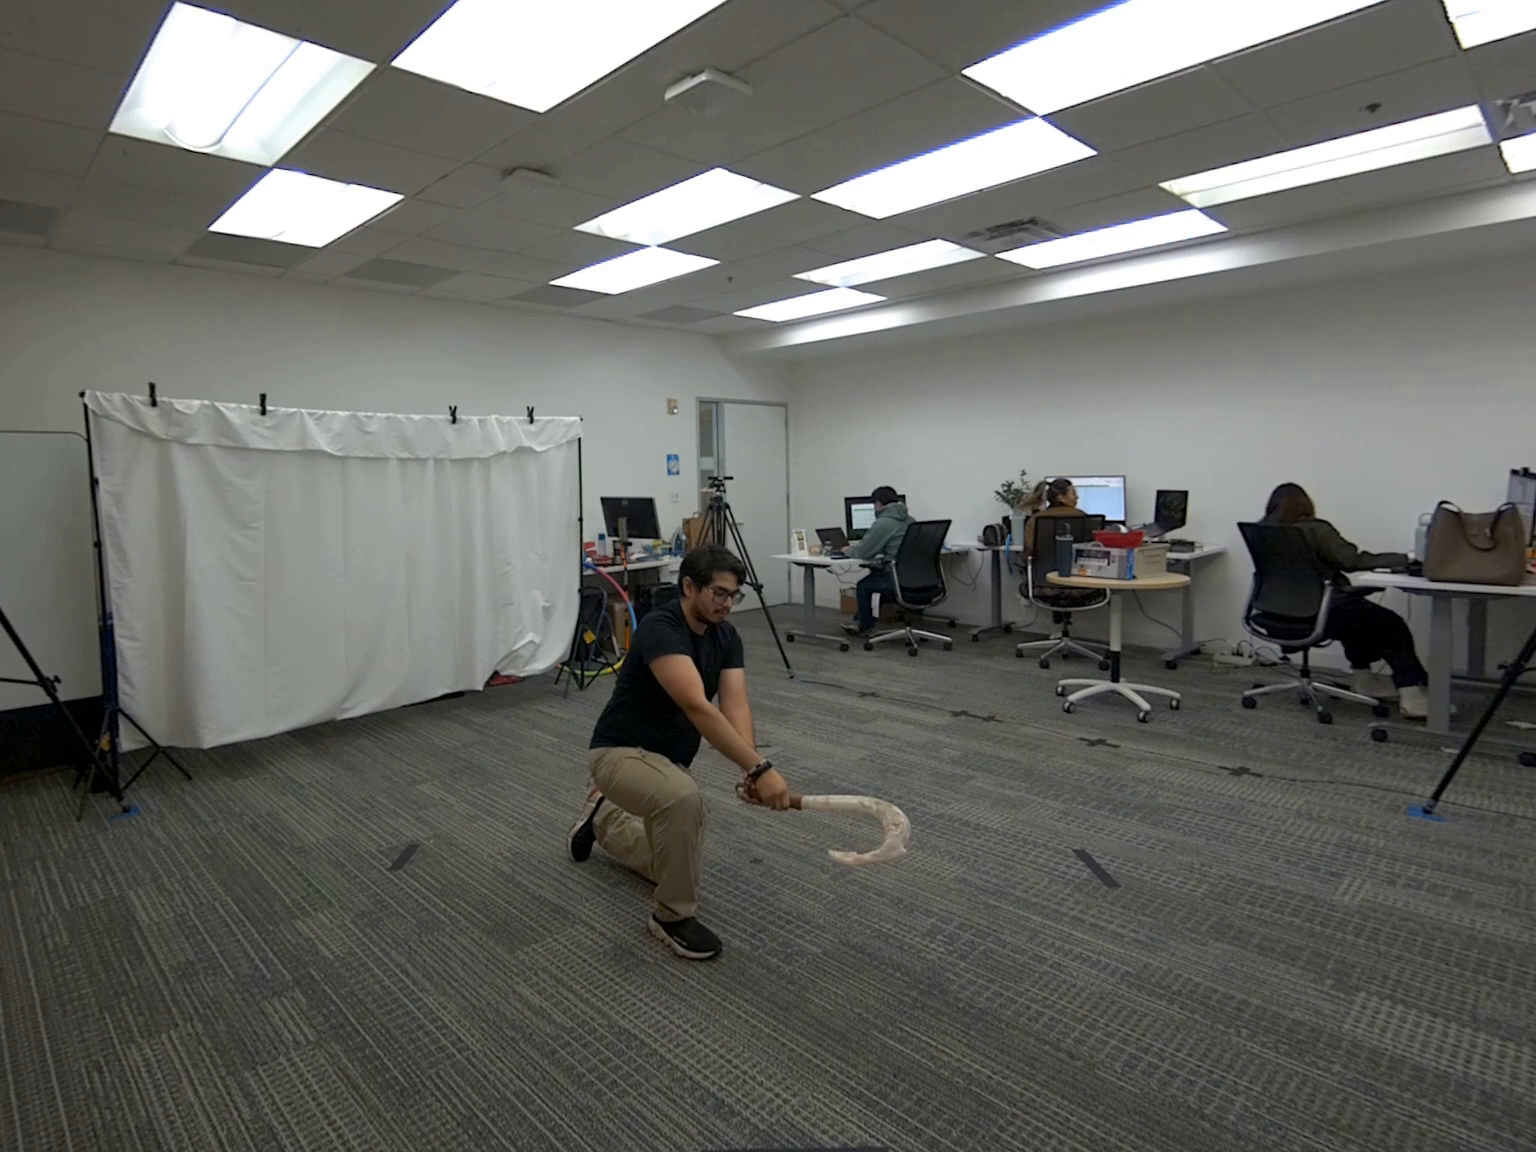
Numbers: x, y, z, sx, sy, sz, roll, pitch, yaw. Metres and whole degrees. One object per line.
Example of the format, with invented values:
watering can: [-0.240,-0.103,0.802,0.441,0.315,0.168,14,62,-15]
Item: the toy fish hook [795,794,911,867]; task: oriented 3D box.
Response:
toy fish hook: [0.135,0.673,2.357,0.516,0.047,0.226,6,31,18]
